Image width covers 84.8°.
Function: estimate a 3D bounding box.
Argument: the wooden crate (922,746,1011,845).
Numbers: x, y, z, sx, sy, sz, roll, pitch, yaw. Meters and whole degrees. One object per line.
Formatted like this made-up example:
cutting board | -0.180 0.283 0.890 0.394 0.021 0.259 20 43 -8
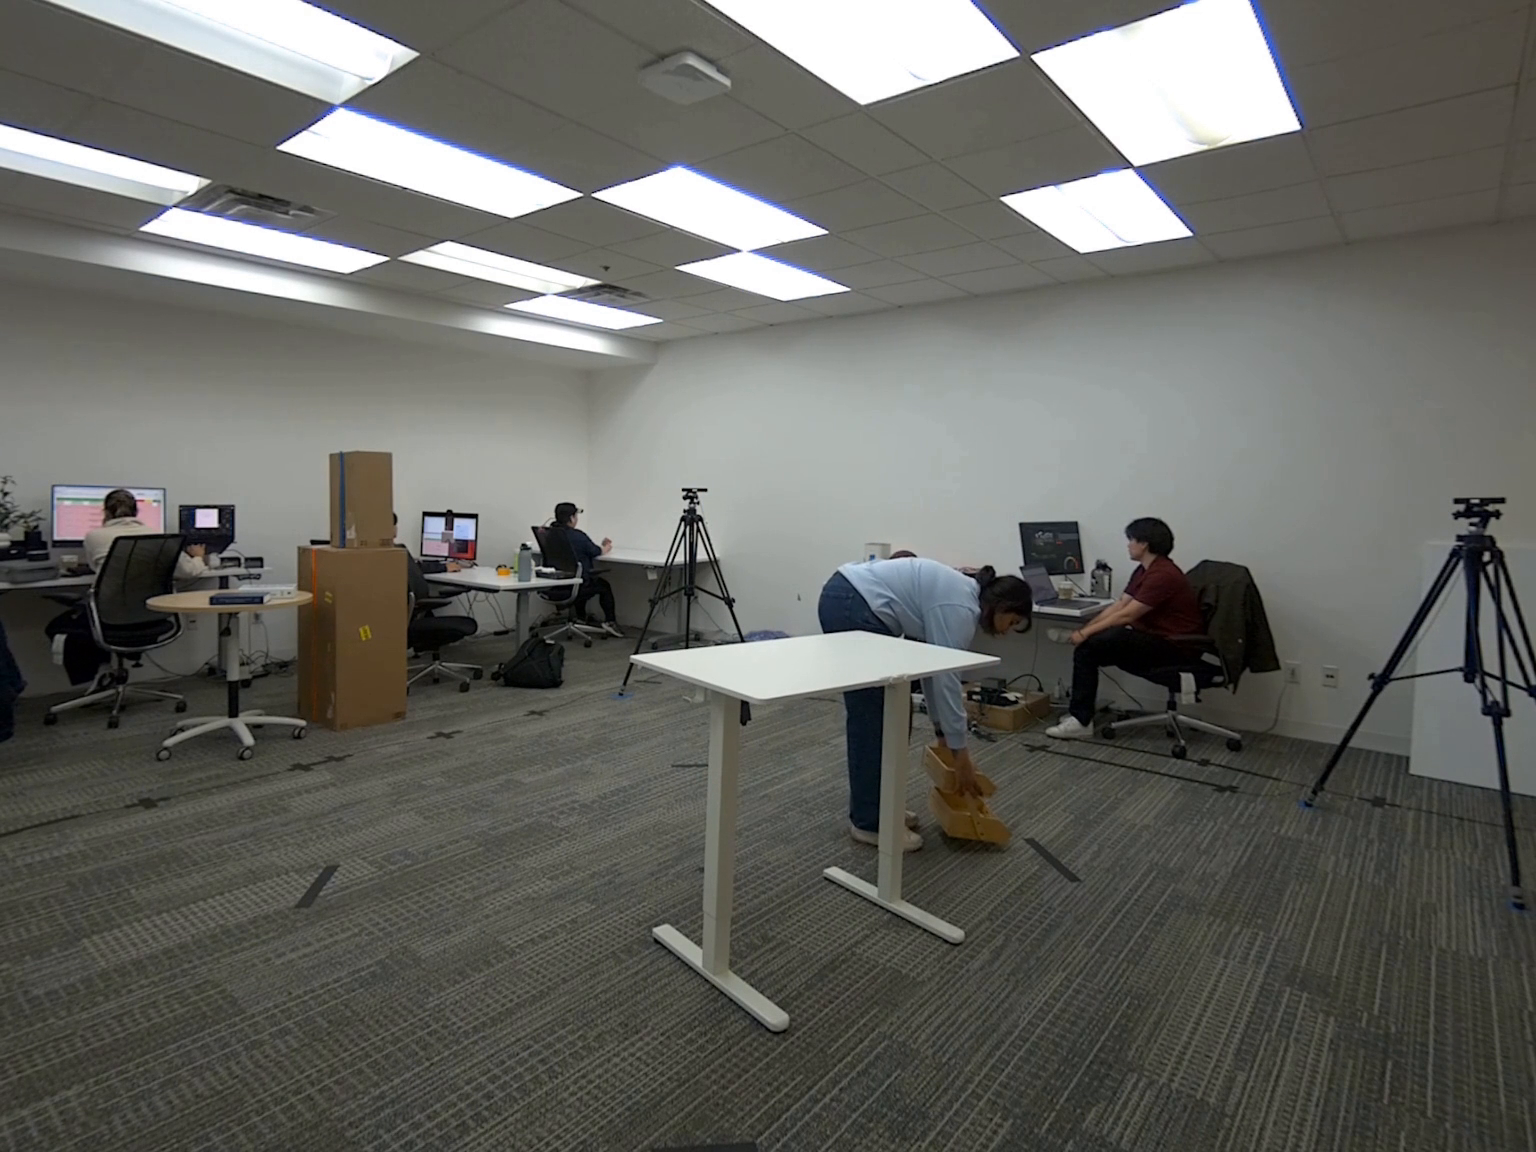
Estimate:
wooden crate | 0.801 0.868 3.444 0.300 0.272 0.328 8 4 -7
